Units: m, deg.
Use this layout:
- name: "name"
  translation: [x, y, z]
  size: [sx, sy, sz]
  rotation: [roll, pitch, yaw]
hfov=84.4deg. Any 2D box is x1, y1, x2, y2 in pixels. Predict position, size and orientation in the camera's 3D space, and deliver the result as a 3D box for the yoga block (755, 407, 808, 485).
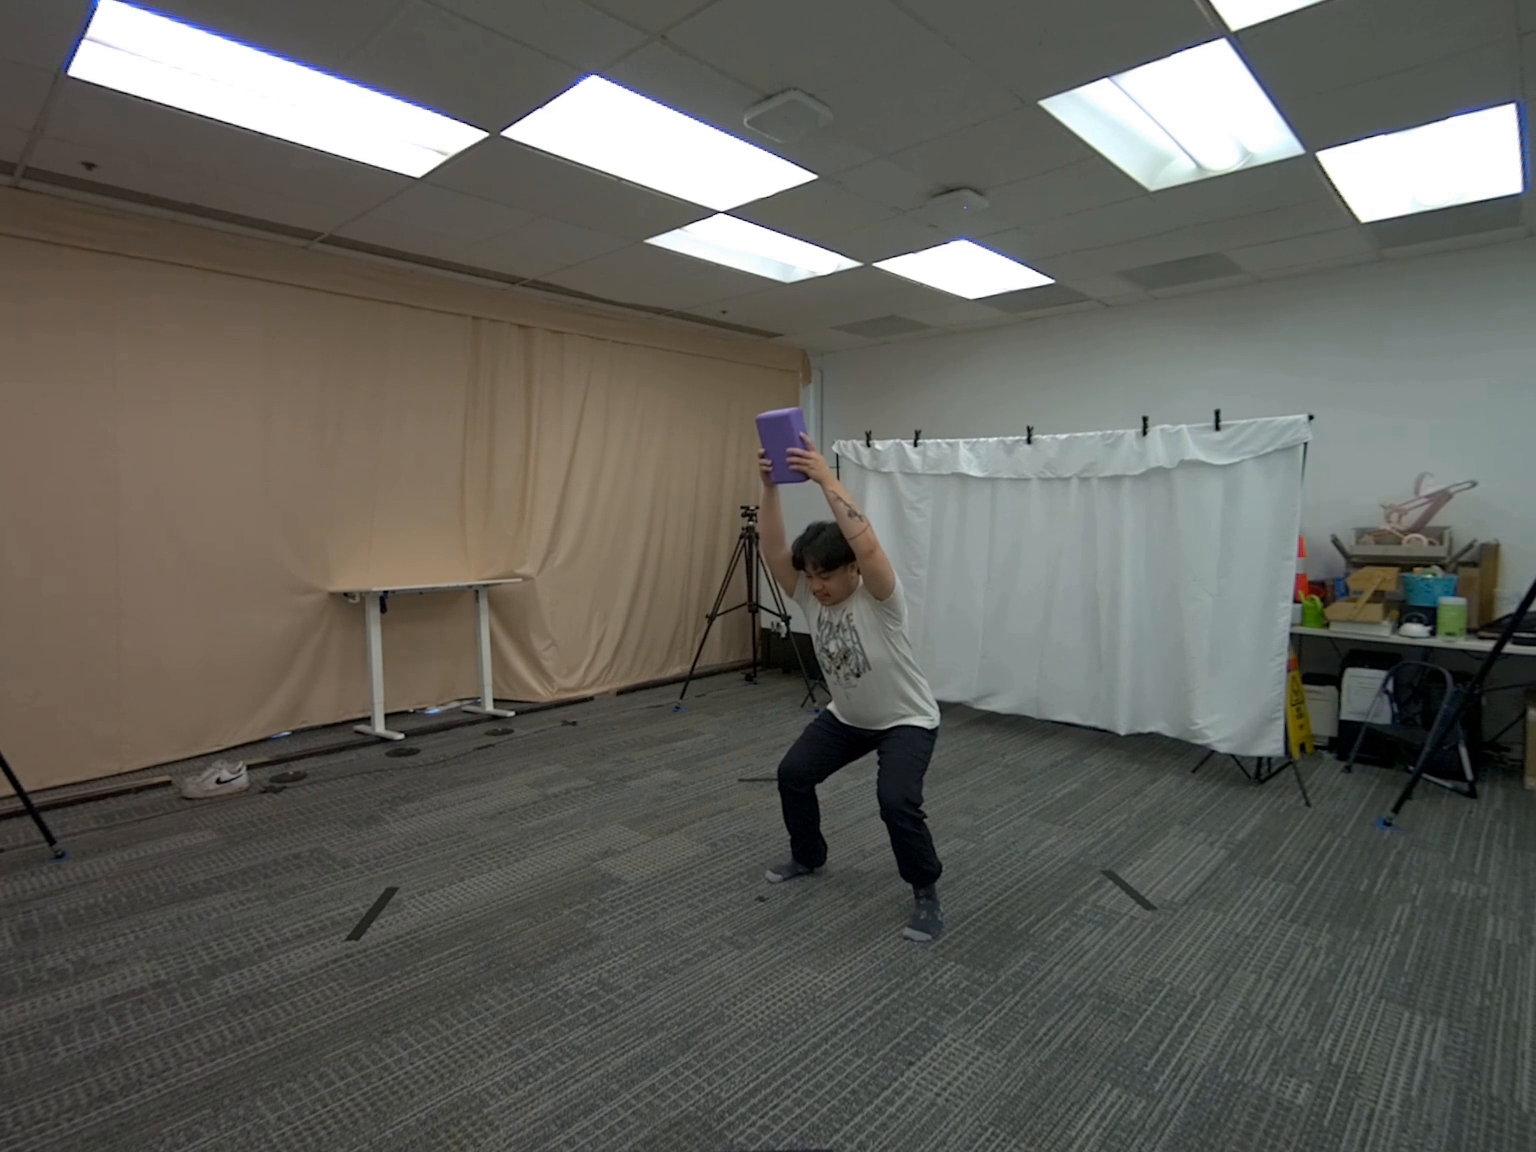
- name: "yoga block"
  translation: [0.056, -0.410, 2.677]
  size: [0.154, 0.226, 0.075]
  rotation: [0, 21, 44]
